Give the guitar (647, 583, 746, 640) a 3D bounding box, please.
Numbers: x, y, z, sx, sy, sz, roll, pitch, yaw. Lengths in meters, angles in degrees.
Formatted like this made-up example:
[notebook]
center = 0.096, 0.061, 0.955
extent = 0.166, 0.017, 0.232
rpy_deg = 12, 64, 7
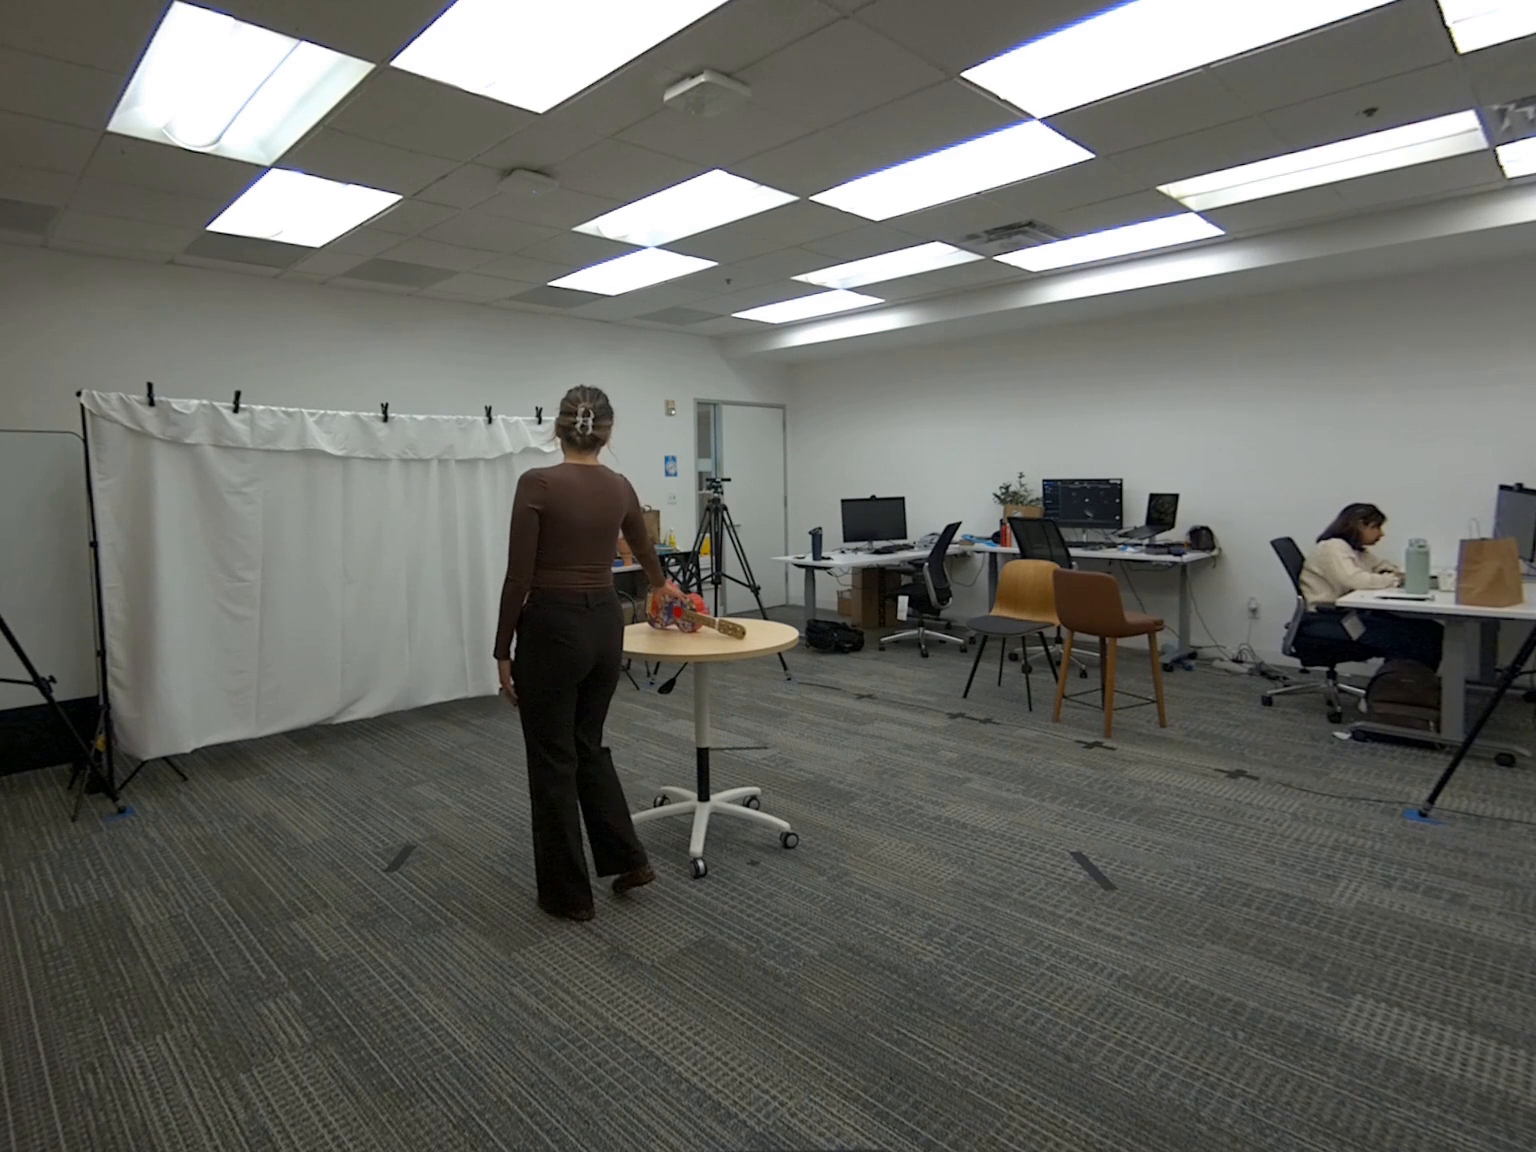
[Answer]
[guitar]
center = -0.284, 0.180, 3.340
extent = 0.515, 0.191, 0.069
rpy_deg = 24, 18, 32
